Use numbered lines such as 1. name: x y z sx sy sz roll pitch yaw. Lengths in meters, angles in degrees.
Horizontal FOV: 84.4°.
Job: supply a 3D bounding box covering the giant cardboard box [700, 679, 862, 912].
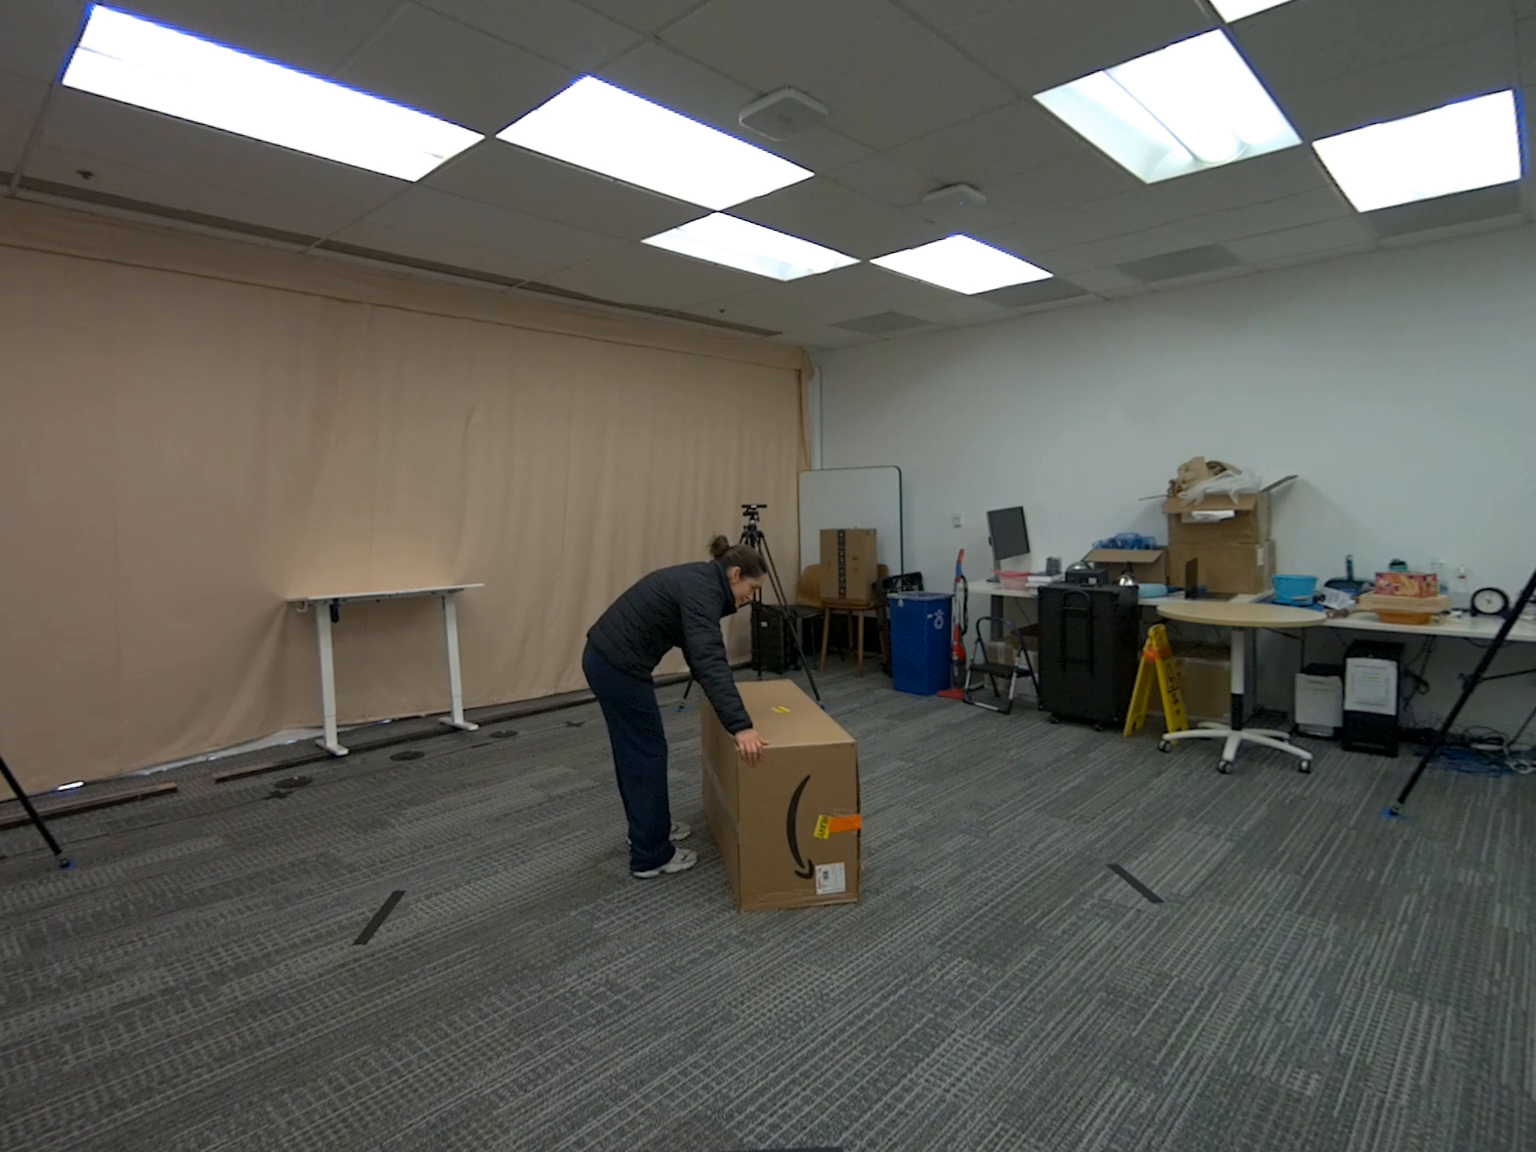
1. giant cardboard box: 0.021 0.815 3.388 0.442 0.582 1.041 -1 5 -12
